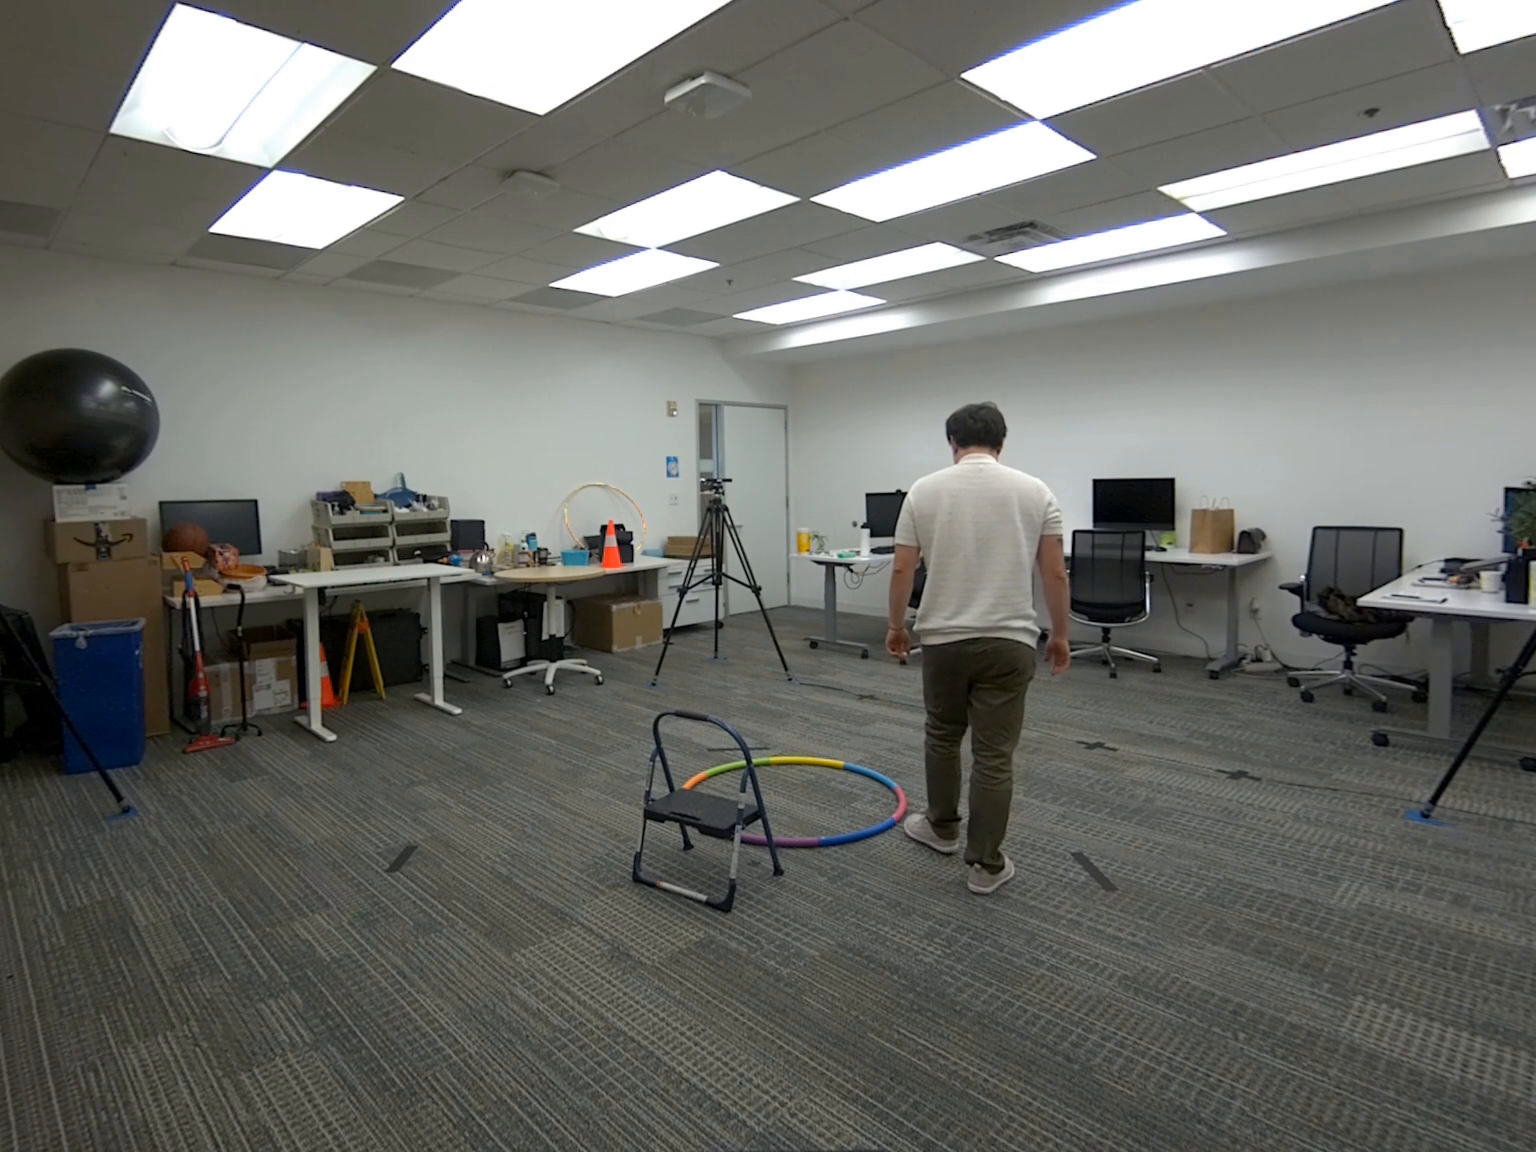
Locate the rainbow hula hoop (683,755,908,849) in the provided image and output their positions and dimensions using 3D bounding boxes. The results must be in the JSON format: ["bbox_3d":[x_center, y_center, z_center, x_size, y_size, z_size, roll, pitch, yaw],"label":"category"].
[{"bbox_3d":[0.099,0.943,3.709,0.978,0.035,0.984,-1,6,-2],"label":"rainbow hula hoop"}]
